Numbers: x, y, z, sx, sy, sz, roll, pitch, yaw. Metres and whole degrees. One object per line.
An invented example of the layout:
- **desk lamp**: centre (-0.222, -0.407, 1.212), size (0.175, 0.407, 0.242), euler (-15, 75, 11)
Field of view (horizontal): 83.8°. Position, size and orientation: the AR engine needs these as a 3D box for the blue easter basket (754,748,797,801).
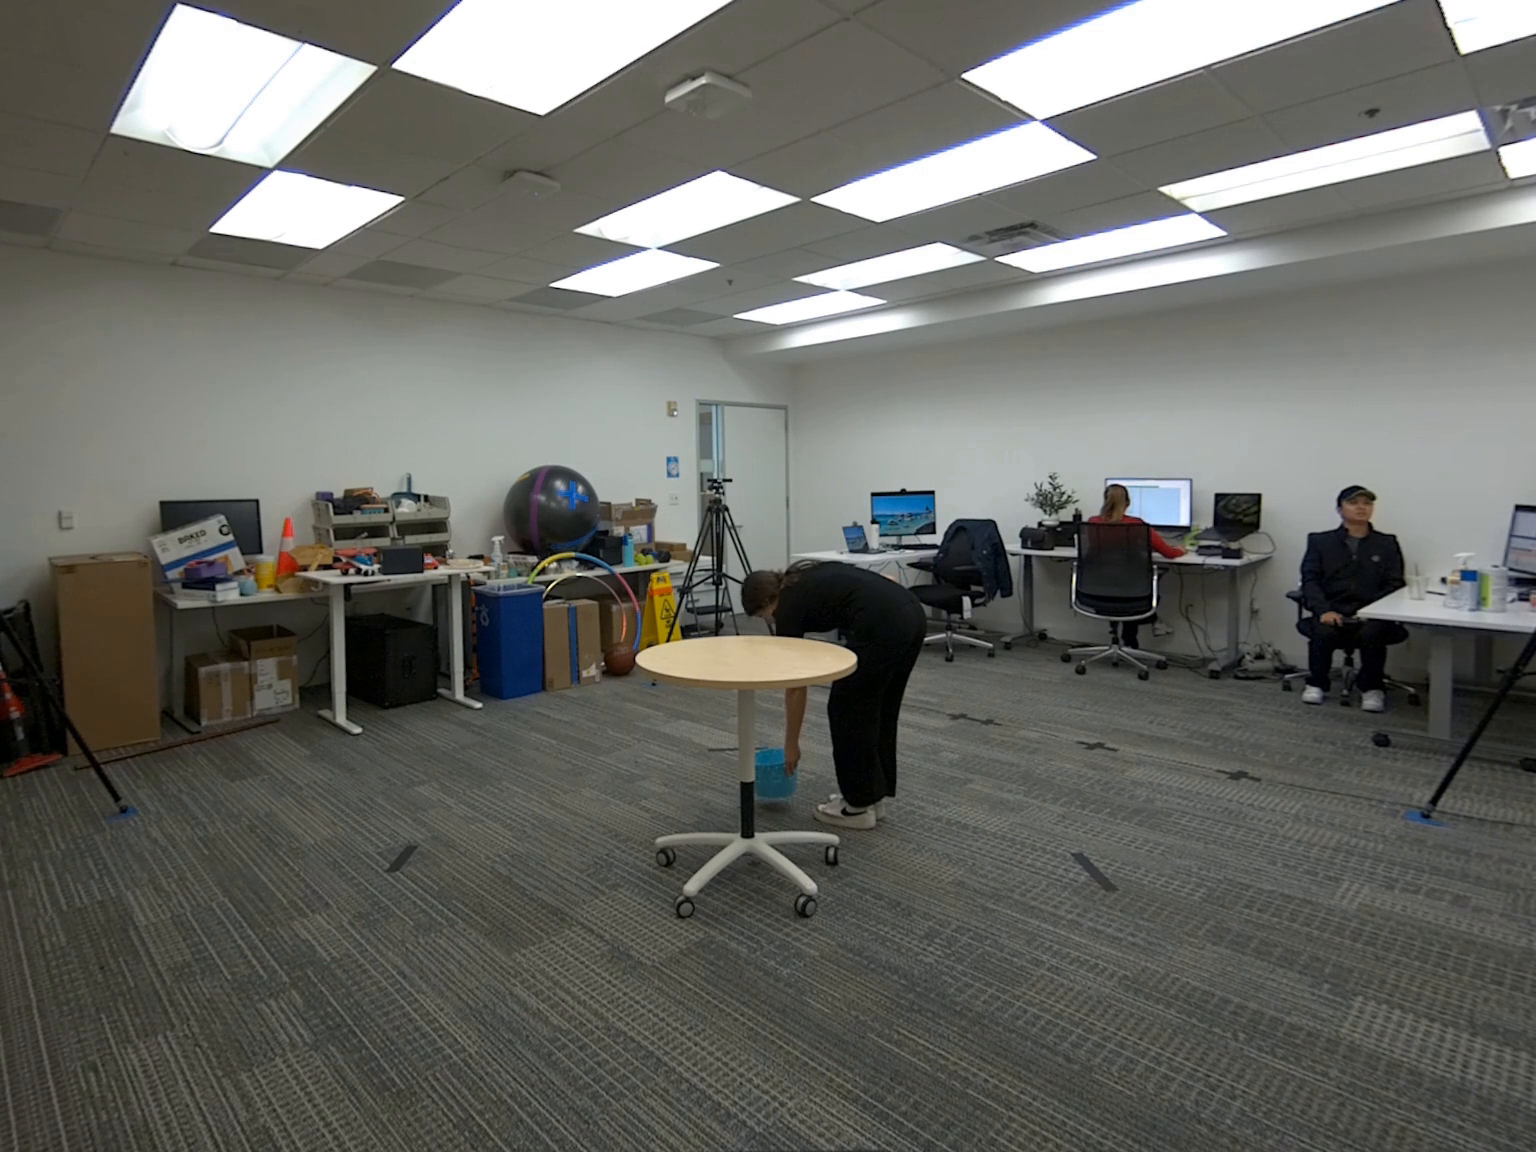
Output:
- **blue easter basket**: centre (0.035, 0.841, 3.653), size (0.243, 0.155, 0.244), euler (-7, 4, -1)
